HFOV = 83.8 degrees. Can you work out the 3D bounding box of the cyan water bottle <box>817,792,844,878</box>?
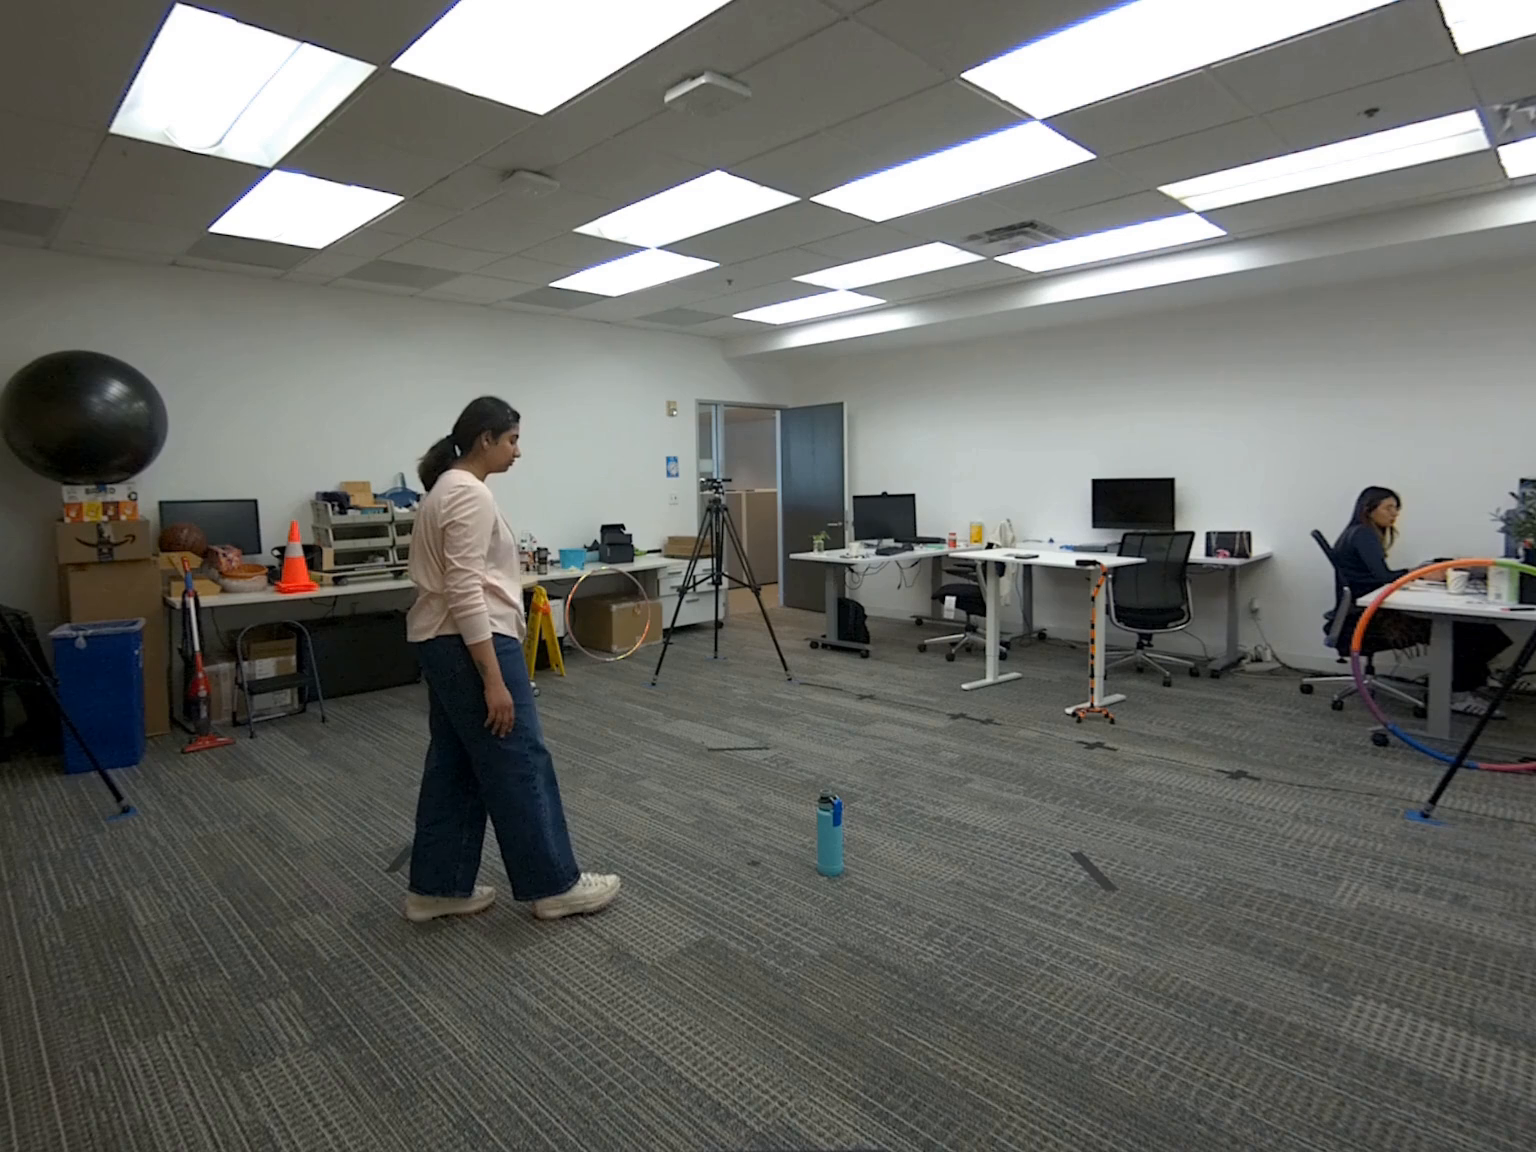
[{"bbox_3d":[0.225,0.909,3.027,0.092,0.282,0.093,0,4,-2],"label":"cyan water bottle"}]
